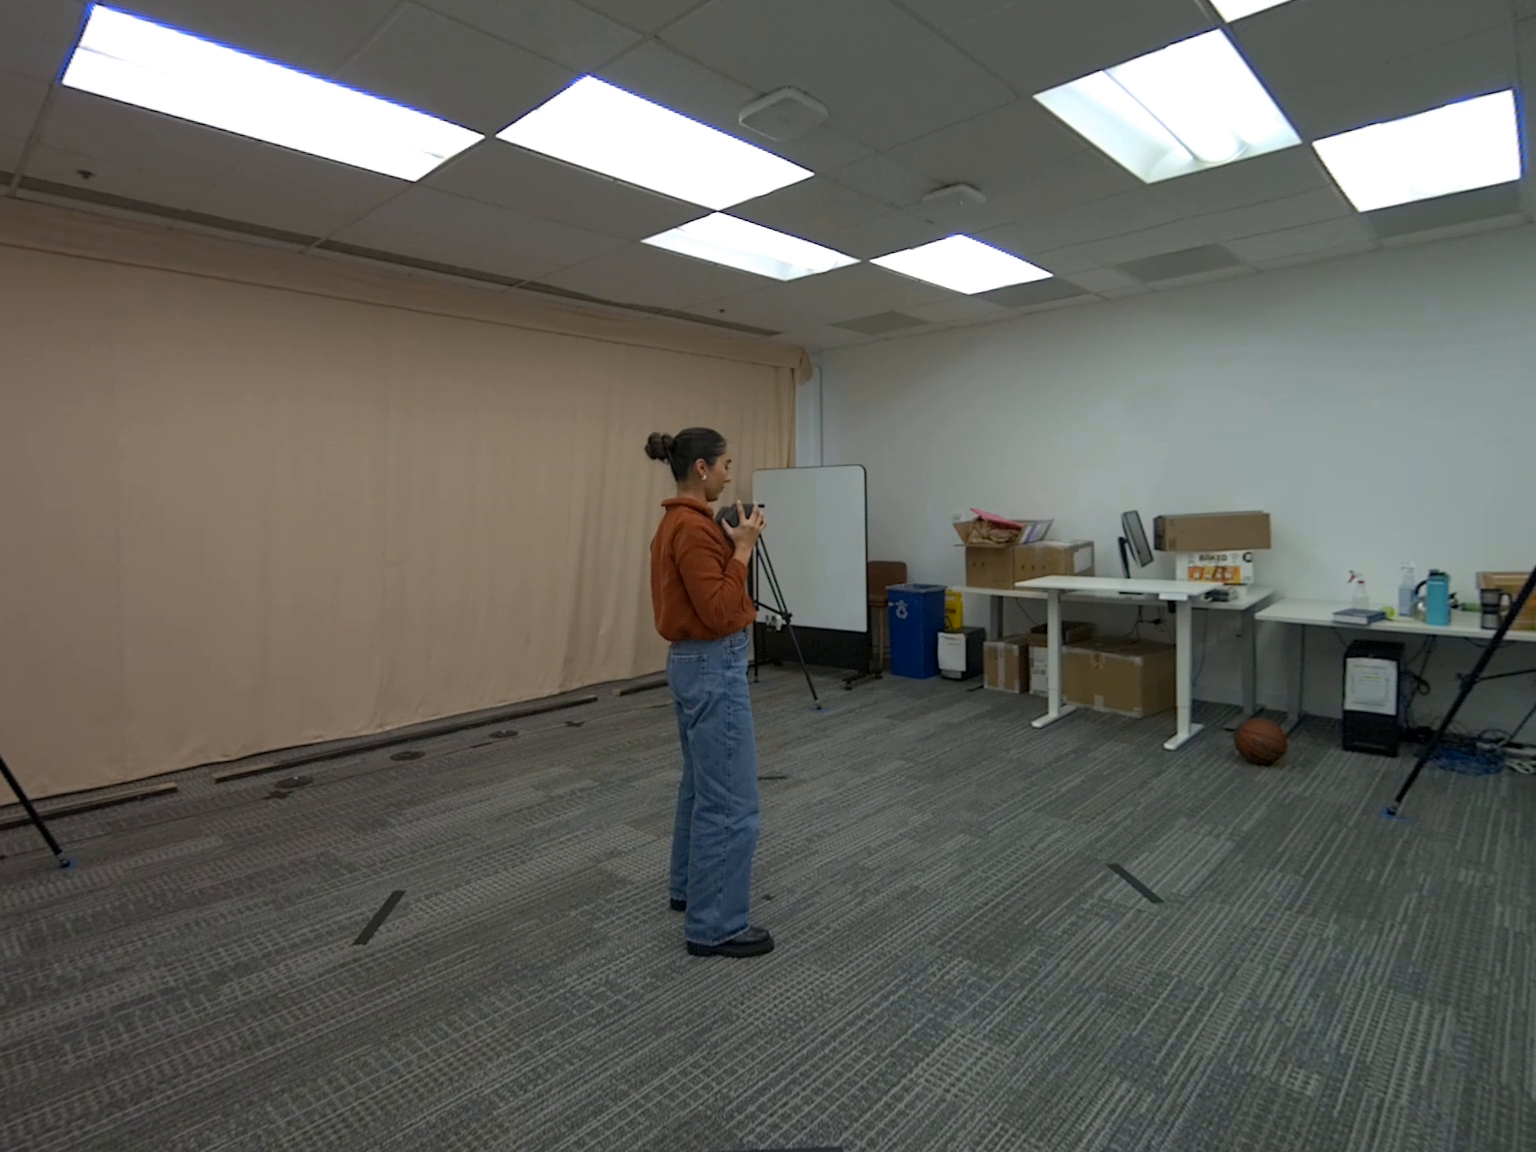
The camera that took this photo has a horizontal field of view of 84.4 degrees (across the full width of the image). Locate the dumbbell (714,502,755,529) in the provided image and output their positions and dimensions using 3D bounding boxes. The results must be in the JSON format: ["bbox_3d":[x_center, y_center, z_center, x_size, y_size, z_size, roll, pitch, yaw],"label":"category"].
[{"bbox_3d":[-0.098,-0.167,2.737,0.108,0.122,0.297,-30,7,-8],"label":"dumbbell"}]
